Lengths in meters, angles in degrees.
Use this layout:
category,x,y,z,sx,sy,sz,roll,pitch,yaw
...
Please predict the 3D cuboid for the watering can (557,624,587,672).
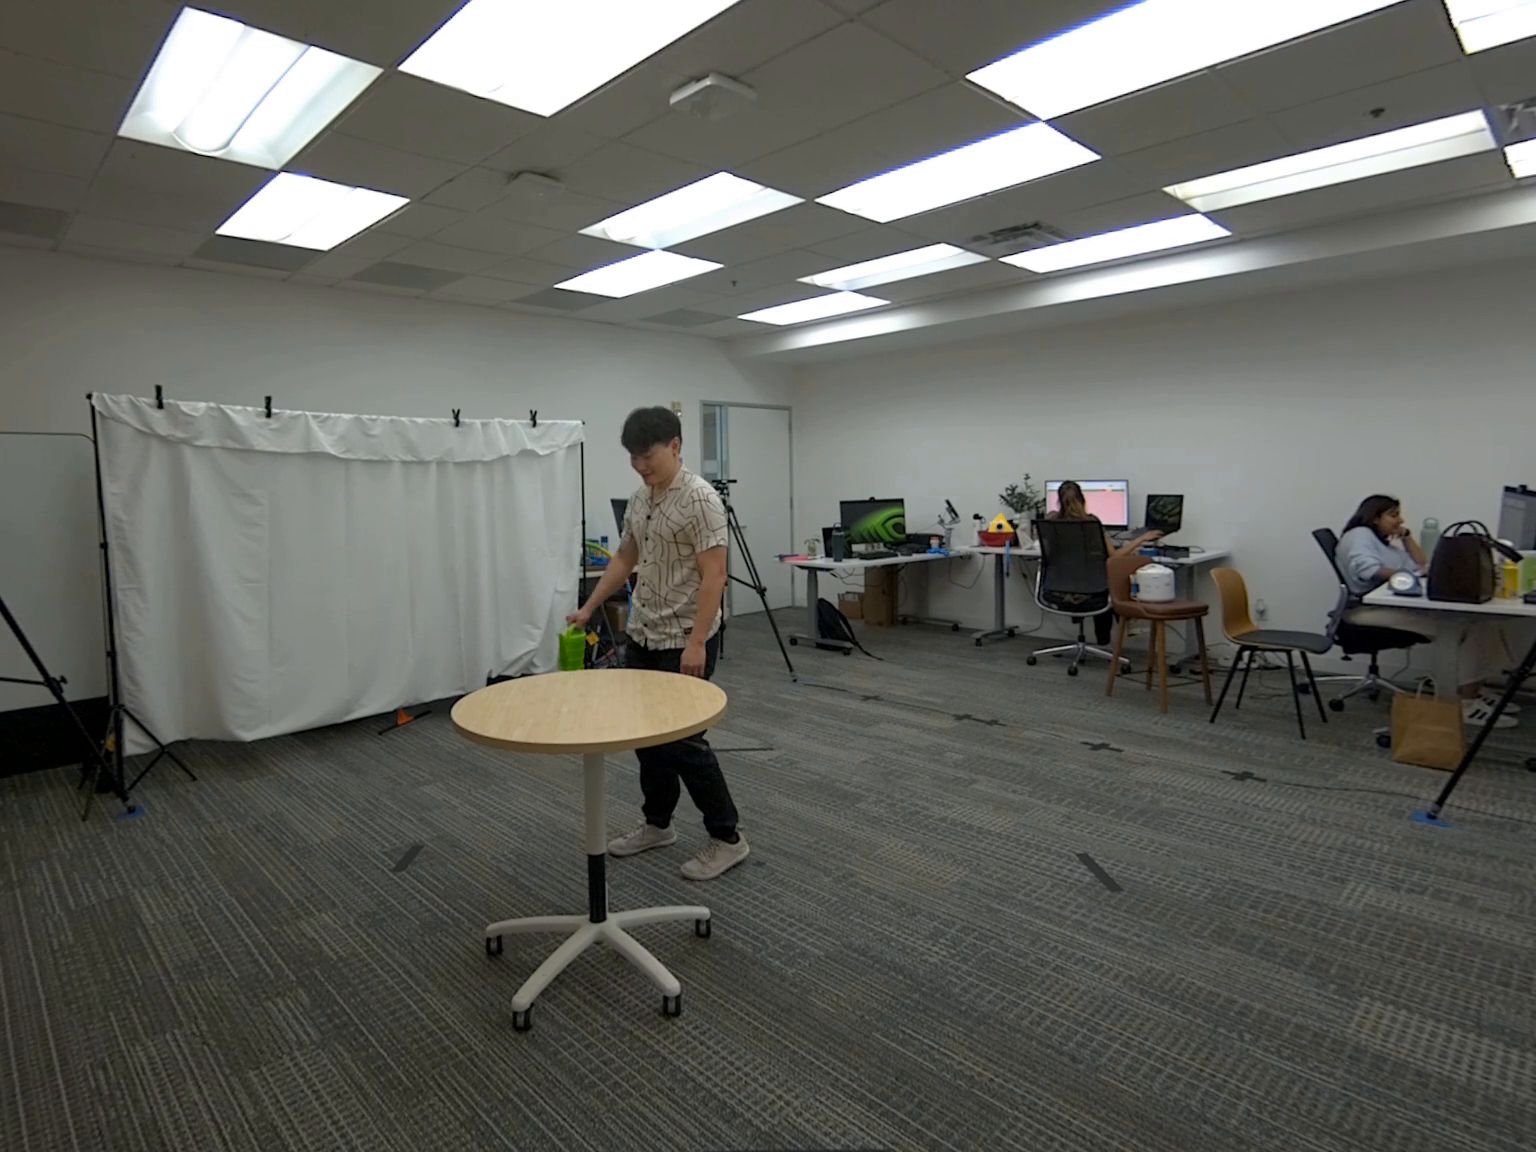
category,x,y,z,sx,sy,sz,roll,pitch,yaw
watering can,-0.720,0.266,3.186,0.100,0.175,0.274,8,10,22
